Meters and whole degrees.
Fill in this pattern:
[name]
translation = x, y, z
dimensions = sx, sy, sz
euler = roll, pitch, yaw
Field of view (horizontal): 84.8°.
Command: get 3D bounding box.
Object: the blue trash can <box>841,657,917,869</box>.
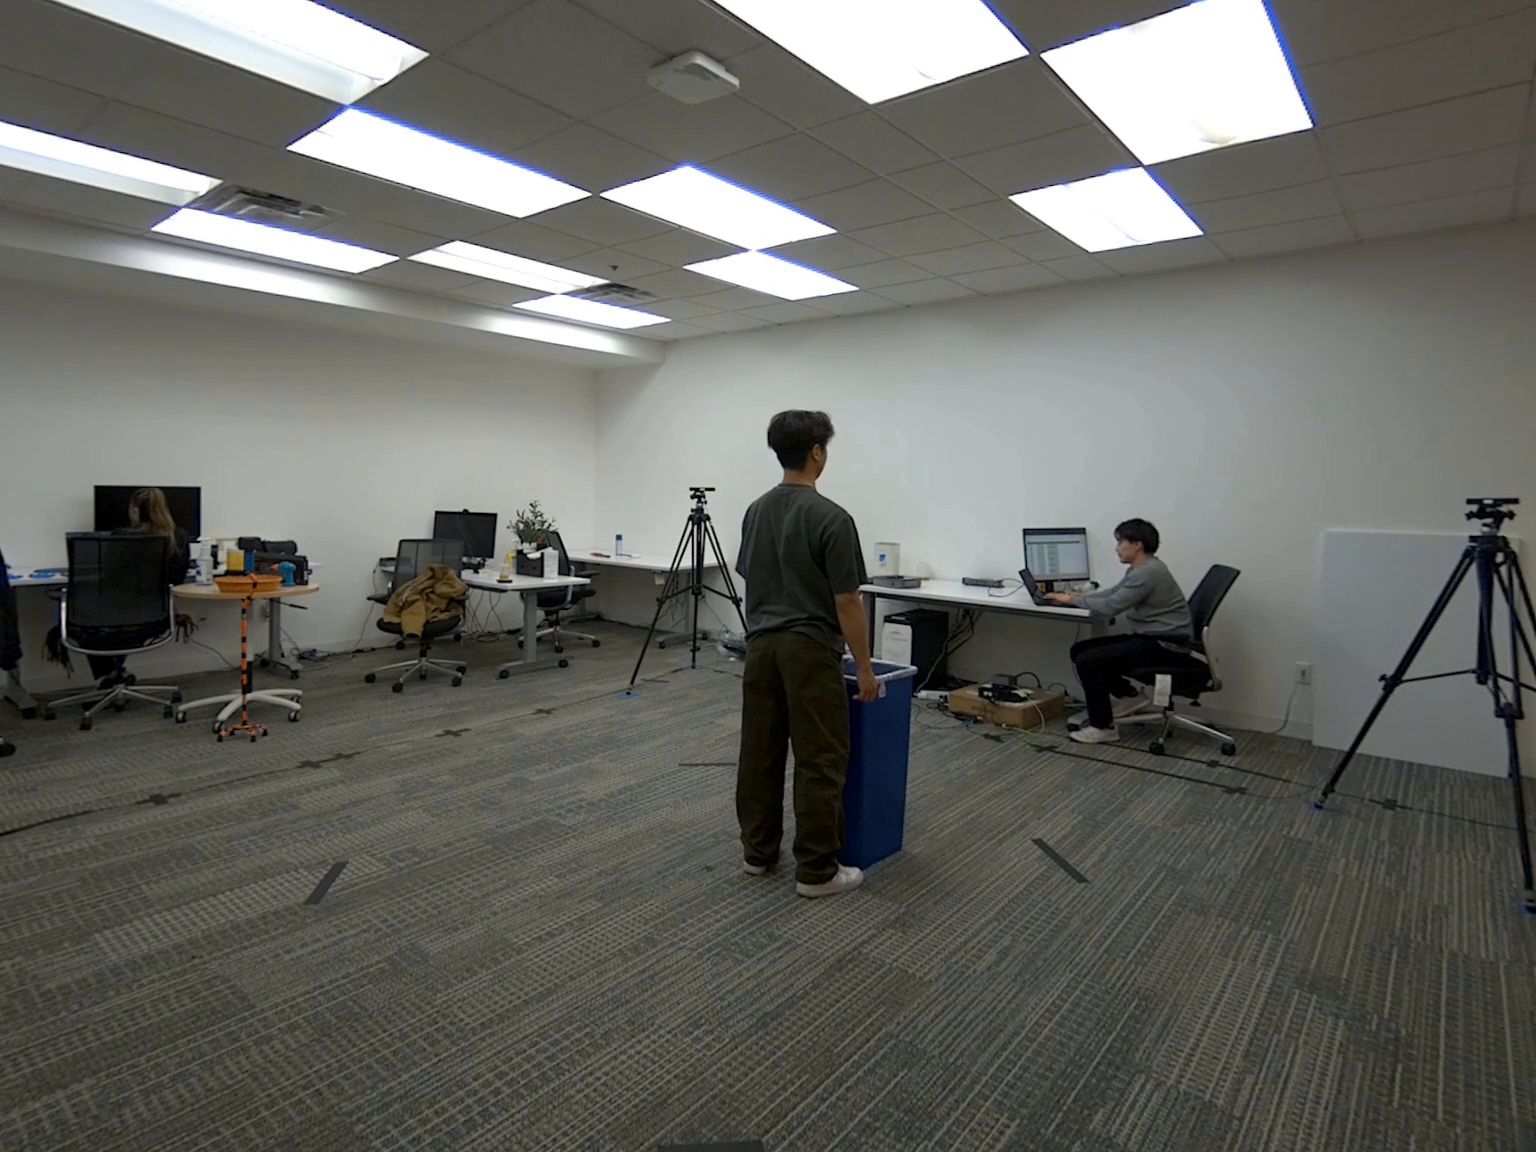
[blue trash can]
translation = 0.315, 0.700, 3.308
dimensions = 0.387, 0.712, 0.366
euler = 4, 4, 42
